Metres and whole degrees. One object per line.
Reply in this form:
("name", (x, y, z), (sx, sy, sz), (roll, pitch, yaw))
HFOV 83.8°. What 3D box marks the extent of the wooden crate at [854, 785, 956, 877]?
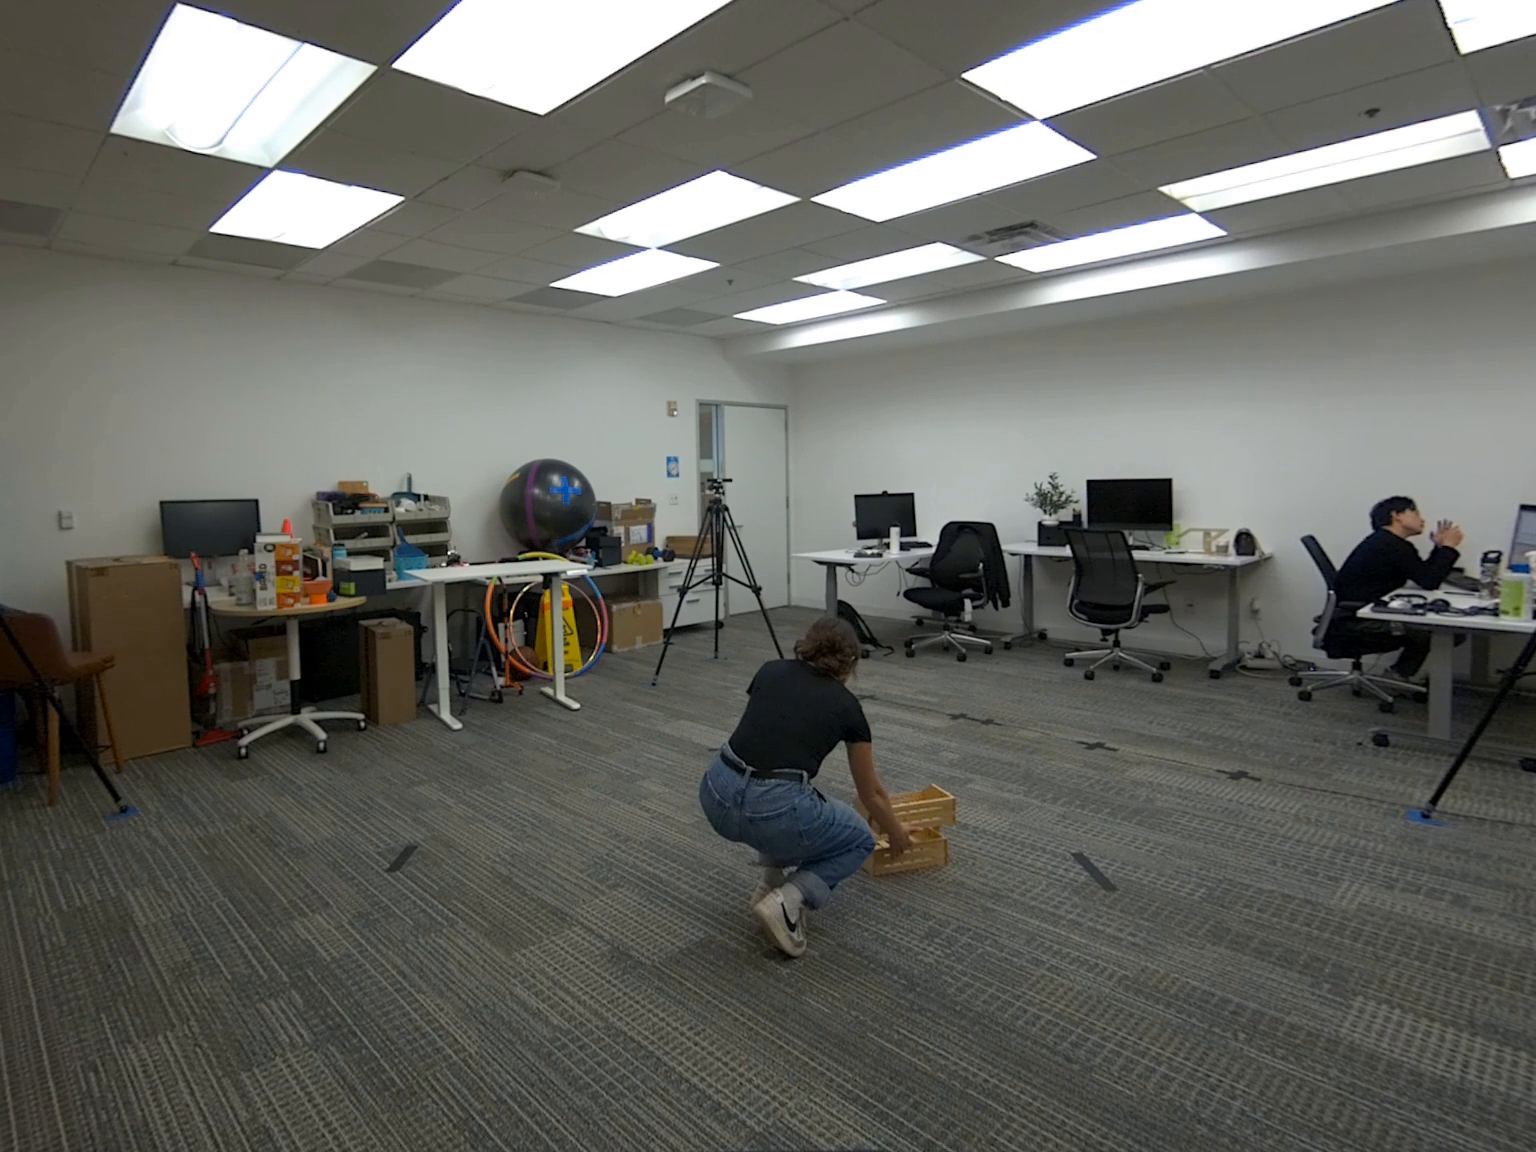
("wooden crate", (0.474, 0.901, 3.121), (0.319, 0.272, 0.308), (-3, 5, -20))
